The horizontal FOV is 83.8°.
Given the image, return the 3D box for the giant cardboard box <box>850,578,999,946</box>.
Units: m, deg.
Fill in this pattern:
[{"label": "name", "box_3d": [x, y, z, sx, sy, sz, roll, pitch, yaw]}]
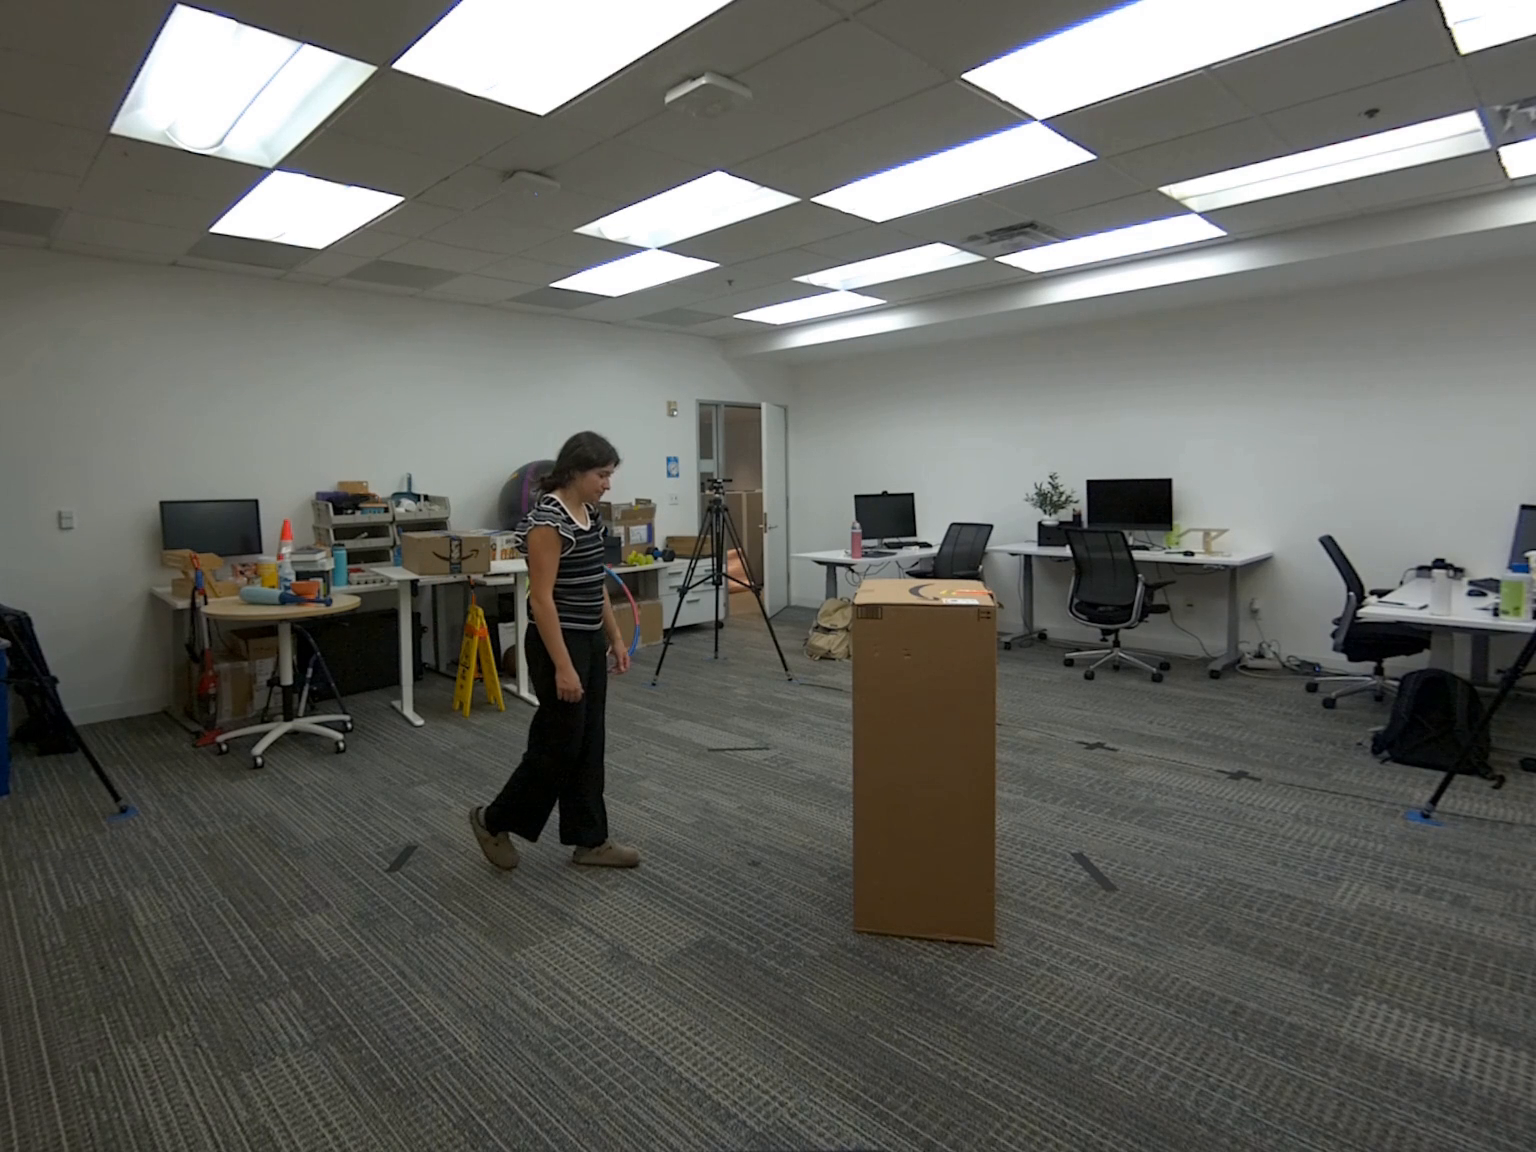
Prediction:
[{"label": "giant cardboard box", "box_3d": [0.510, 0.555, 2.818, 0.431, 1.022, 0.573, 0, 4, 11]}]
